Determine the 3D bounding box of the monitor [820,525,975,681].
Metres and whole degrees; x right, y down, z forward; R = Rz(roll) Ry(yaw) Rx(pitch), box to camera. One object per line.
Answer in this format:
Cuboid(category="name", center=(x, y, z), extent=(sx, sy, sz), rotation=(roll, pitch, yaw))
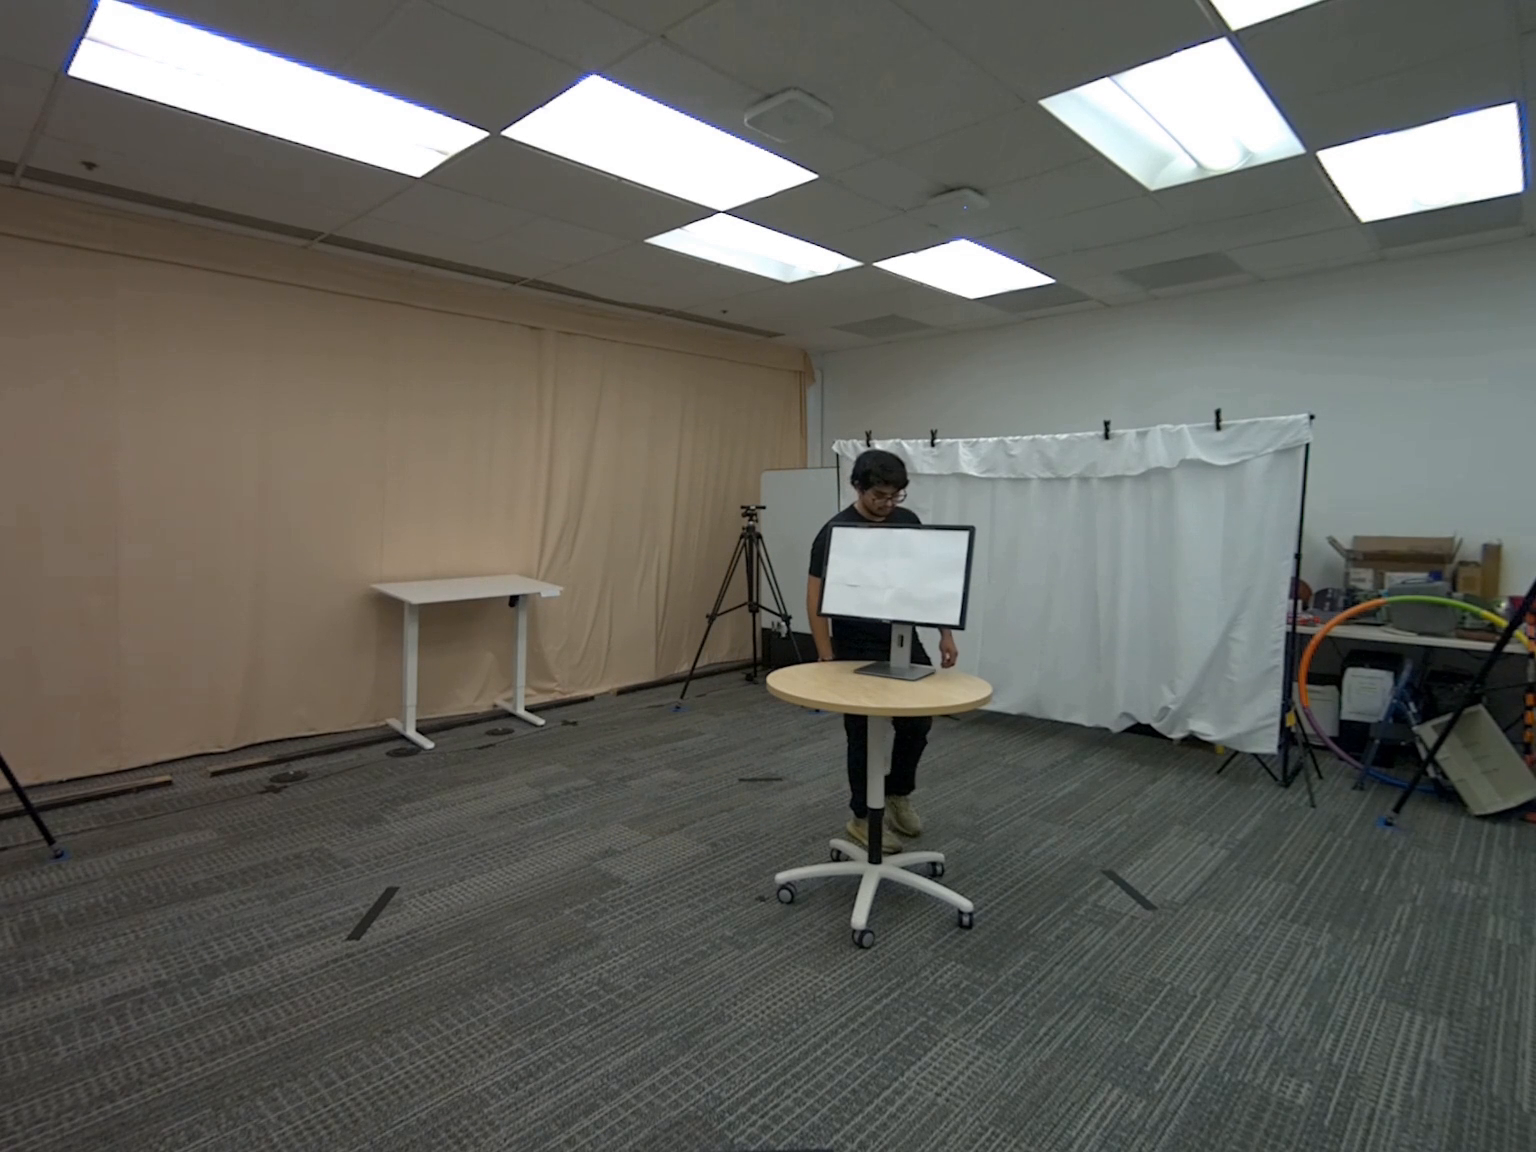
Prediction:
Cuboid(category="monitor", center=(0.484, 0.087, 3.081), extent=(0.583, 0.555, 0.203), rotation=(3, -3, 34))
